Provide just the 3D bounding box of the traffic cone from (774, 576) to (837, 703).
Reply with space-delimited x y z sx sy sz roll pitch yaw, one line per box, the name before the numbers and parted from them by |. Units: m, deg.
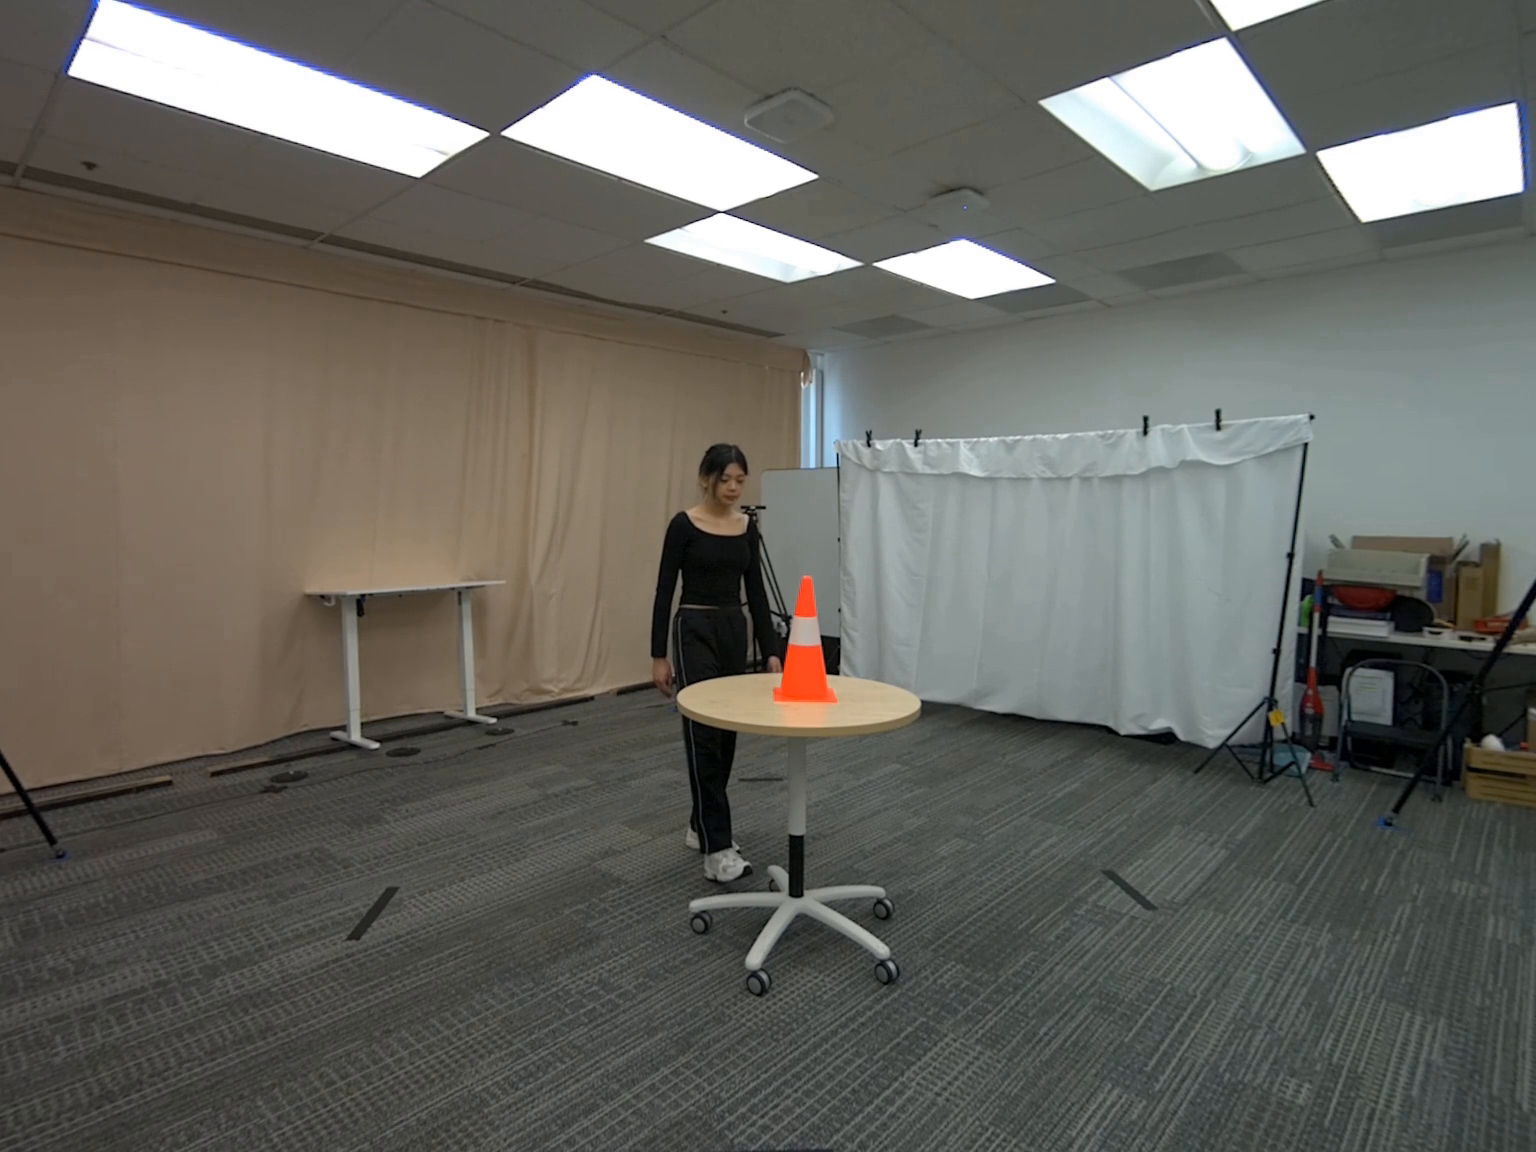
traffic cone | 0.132 0.195 2.692 0.206 0.383 0.203 2 3 2
